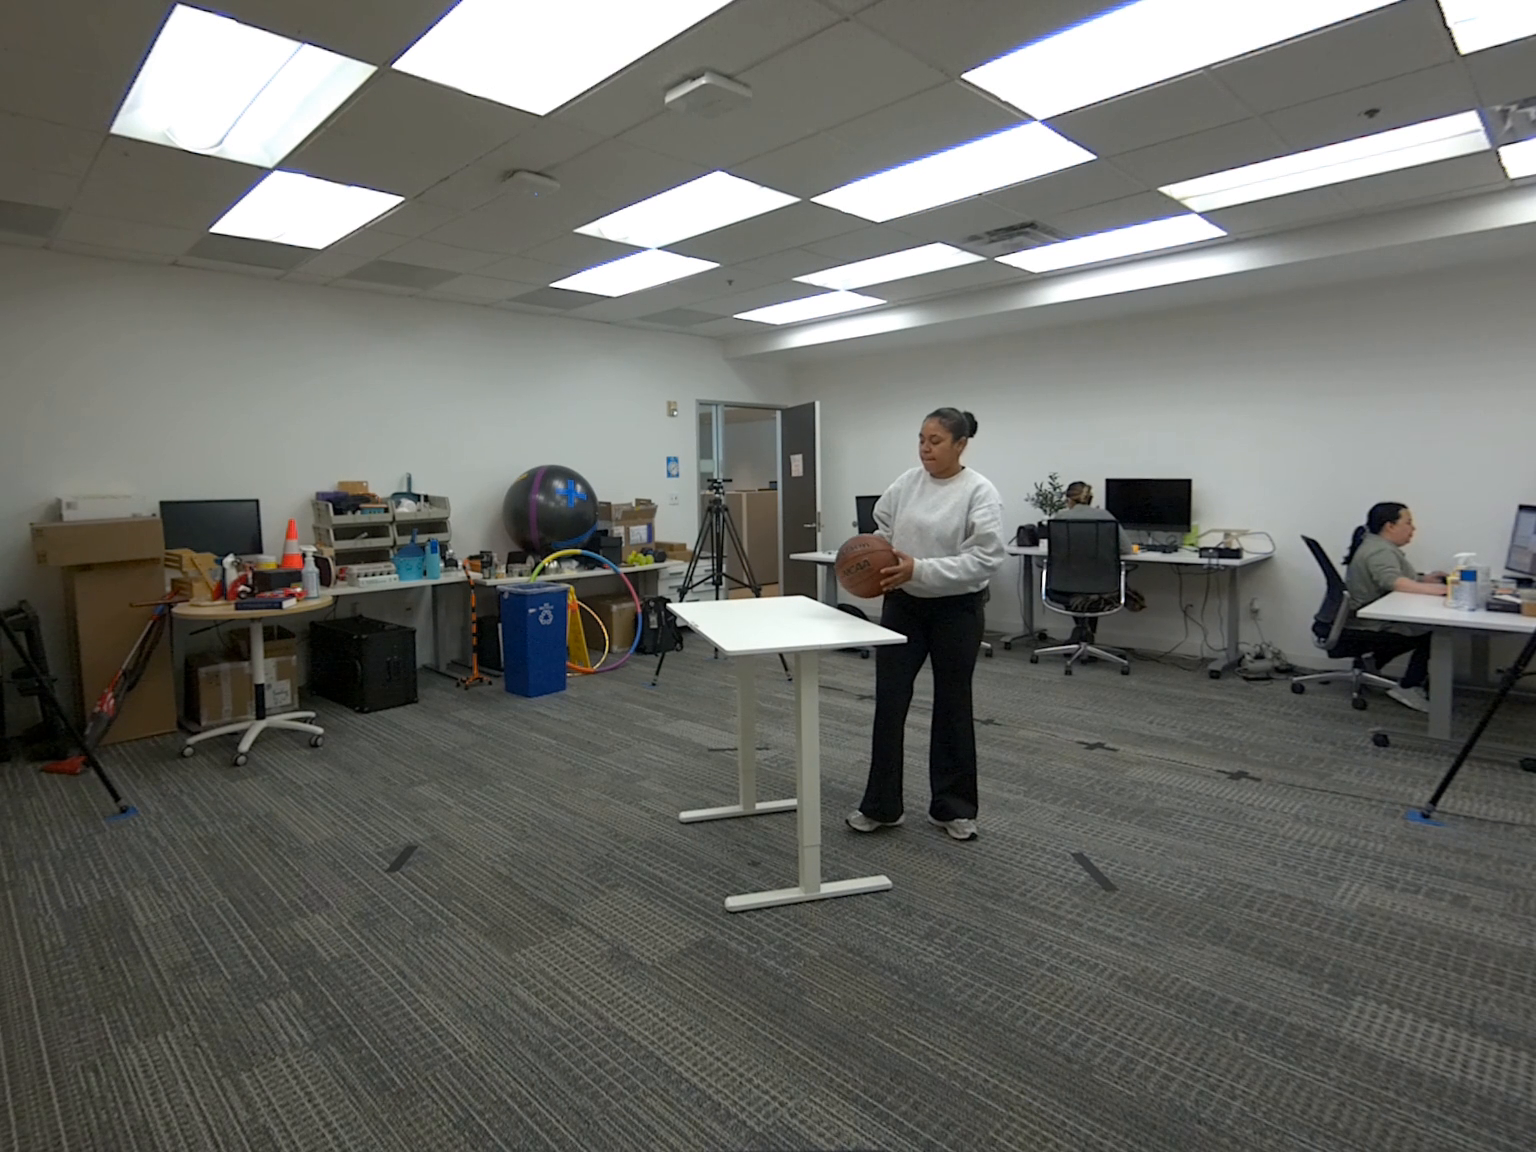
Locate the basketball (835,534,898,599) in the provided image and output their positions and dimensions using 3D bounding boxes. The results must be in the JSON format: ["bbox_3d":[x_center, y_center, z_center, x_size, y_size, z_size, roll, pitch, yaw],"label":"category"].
[{"bbox_3d":[0.374,-0.032,3.170,0.236,0.235,0.237,-1,5,-2],"label":"basketball"}]
